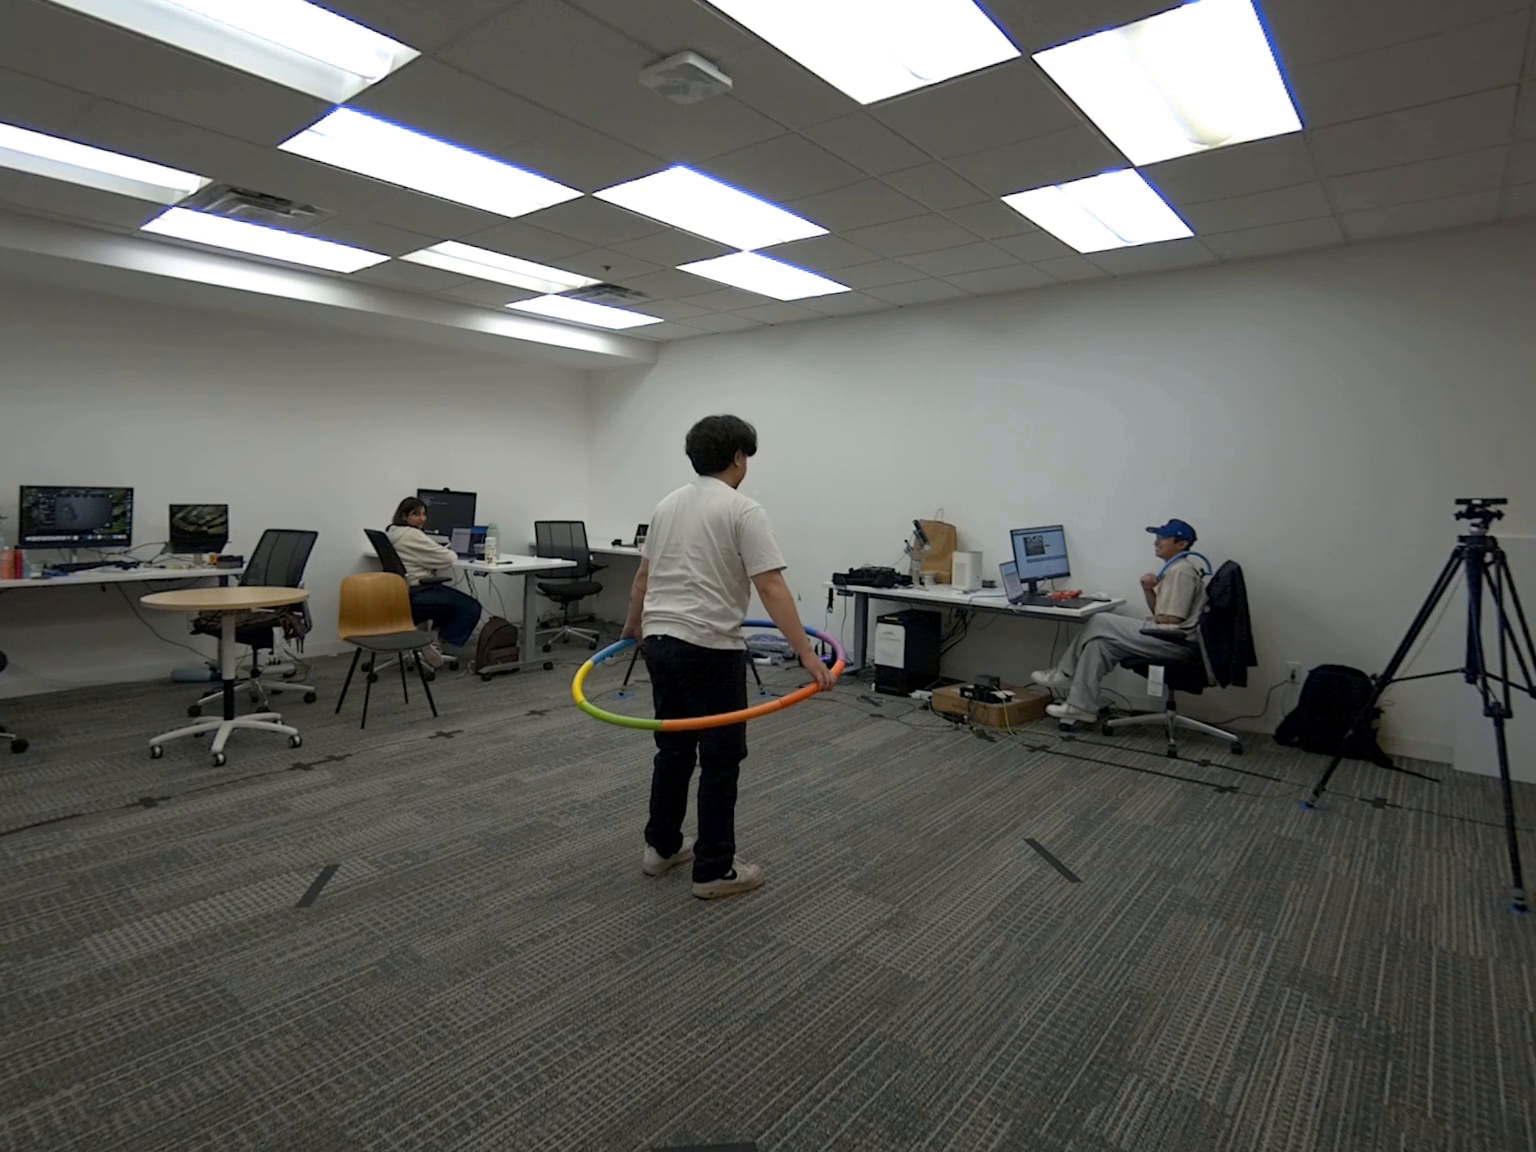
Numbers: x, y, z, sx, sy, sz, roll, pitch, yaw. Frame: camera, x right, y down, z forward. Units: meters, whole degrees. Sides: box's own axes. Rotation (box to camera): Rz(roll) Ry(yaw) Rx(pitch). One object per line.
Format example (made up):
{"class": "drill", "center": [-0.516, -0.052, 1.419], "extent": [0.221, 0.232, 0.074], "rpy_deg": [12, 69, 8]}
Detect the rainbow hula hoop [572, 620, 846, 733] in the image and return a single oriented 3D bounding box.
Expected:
{"class": "rainbow hula hoop", "center": [-0.227, 0.324, 3.072], "extent": [0.986, 0.051, 1.000], "rpy_deg": [-7, 15, 0]}
